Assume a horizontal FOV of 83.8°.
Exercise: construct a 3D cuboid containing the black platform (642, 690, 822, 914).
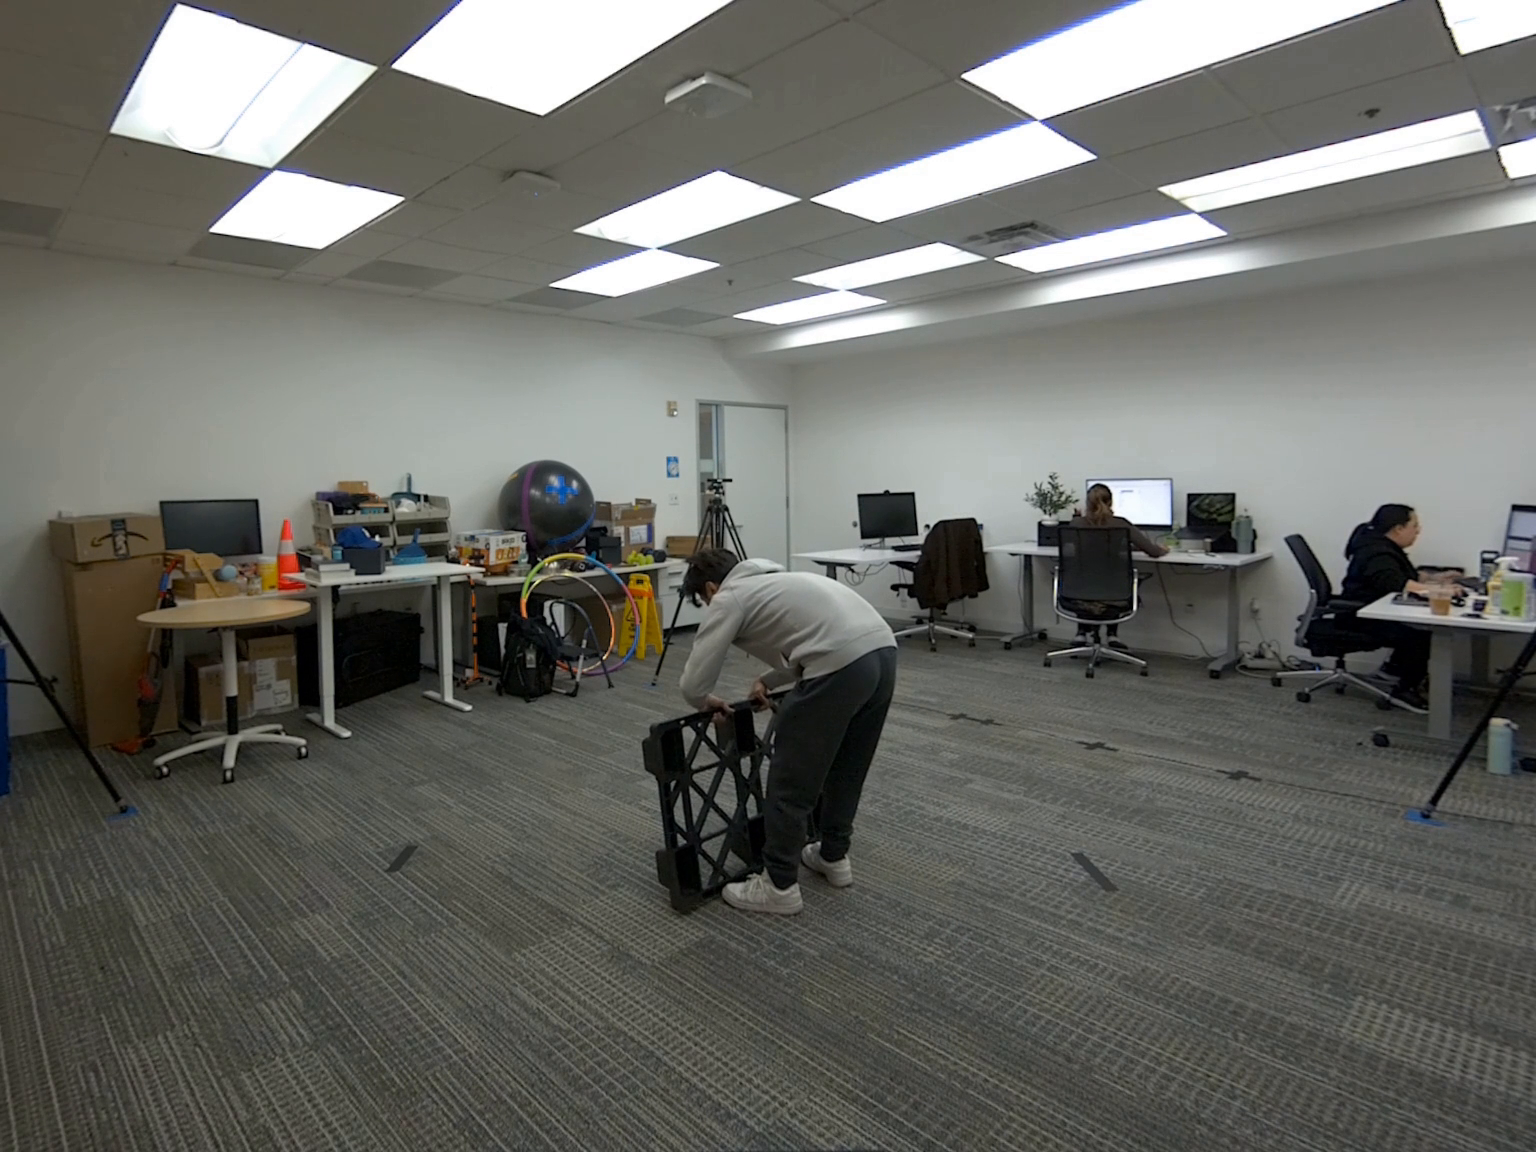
[{"bbox_3d":[-0.096,0.755,3.071,0.784,0.607,0.147,-5,-4,-45],"label":"black platform"}]
